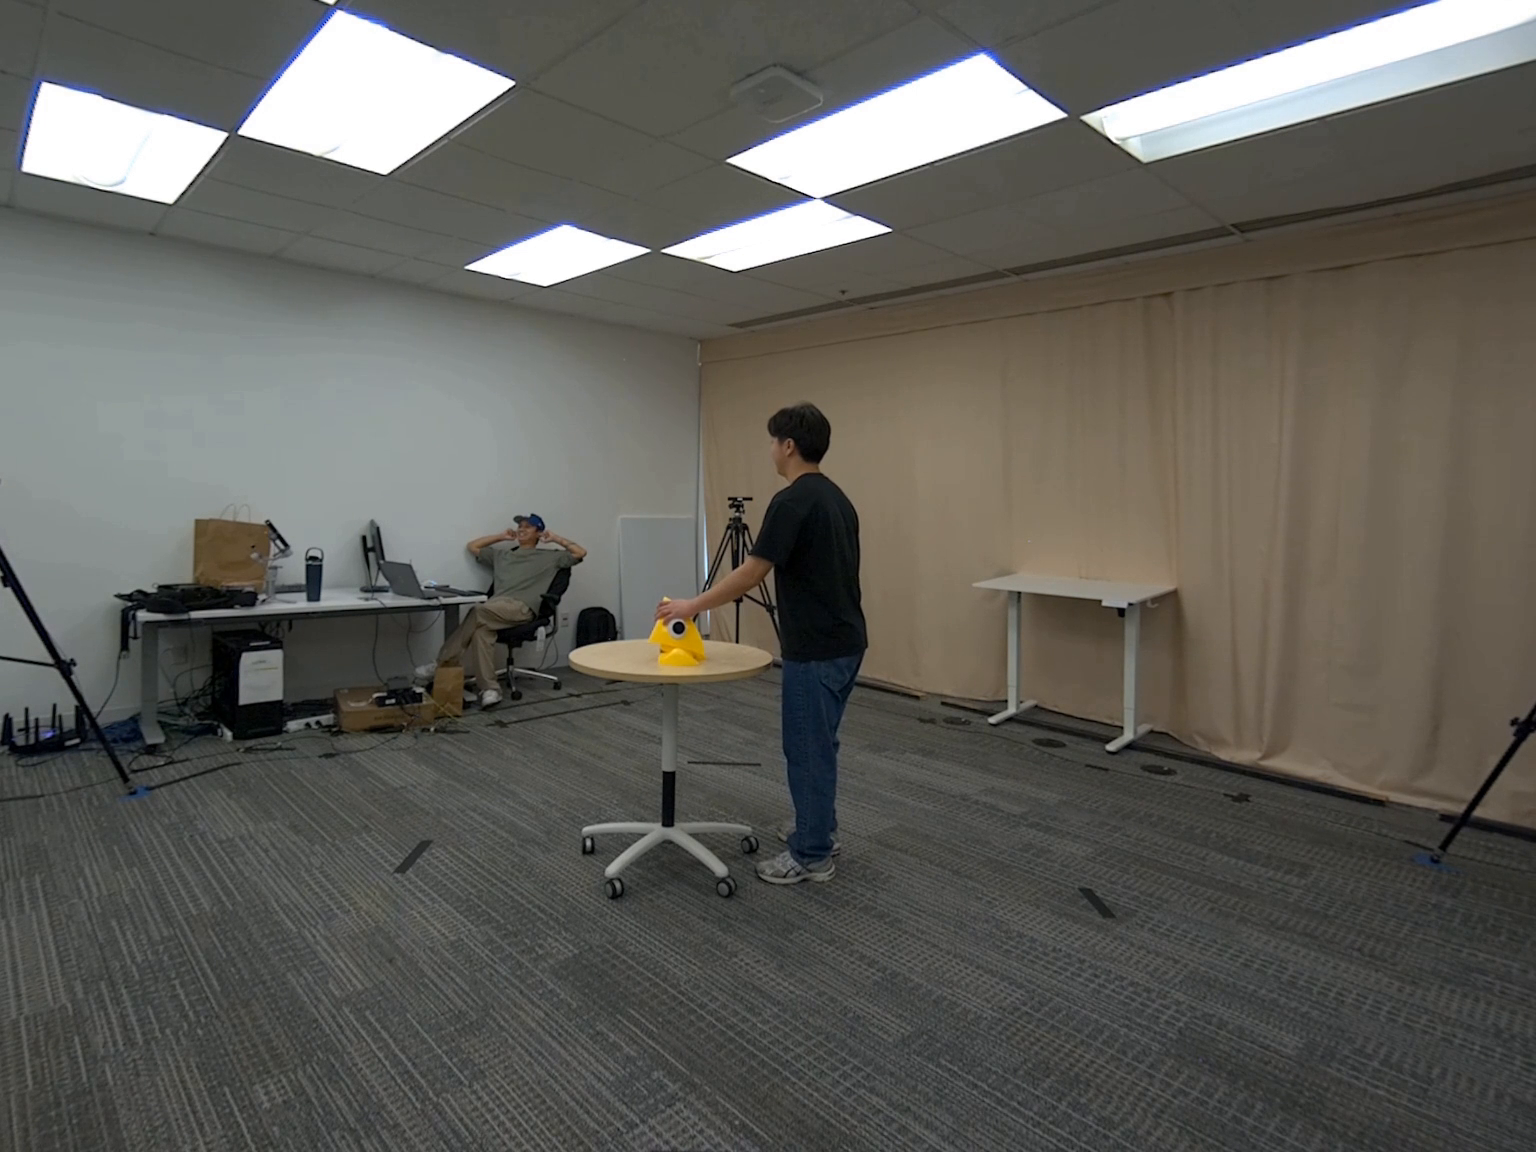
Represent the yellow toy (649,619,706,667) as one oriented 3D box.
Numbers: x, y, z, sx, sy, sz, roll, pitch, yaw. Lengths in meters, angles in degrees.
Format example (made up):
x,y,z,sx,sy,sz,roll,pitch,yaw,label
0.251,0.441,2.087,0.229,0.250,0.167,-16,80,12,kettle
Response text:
x,y,z,sx,sy,sz,roll,pitch,yaw,label
-0.324,0.196,3.072,0.195,0.230,0.203,1,4,10,yellow toy
